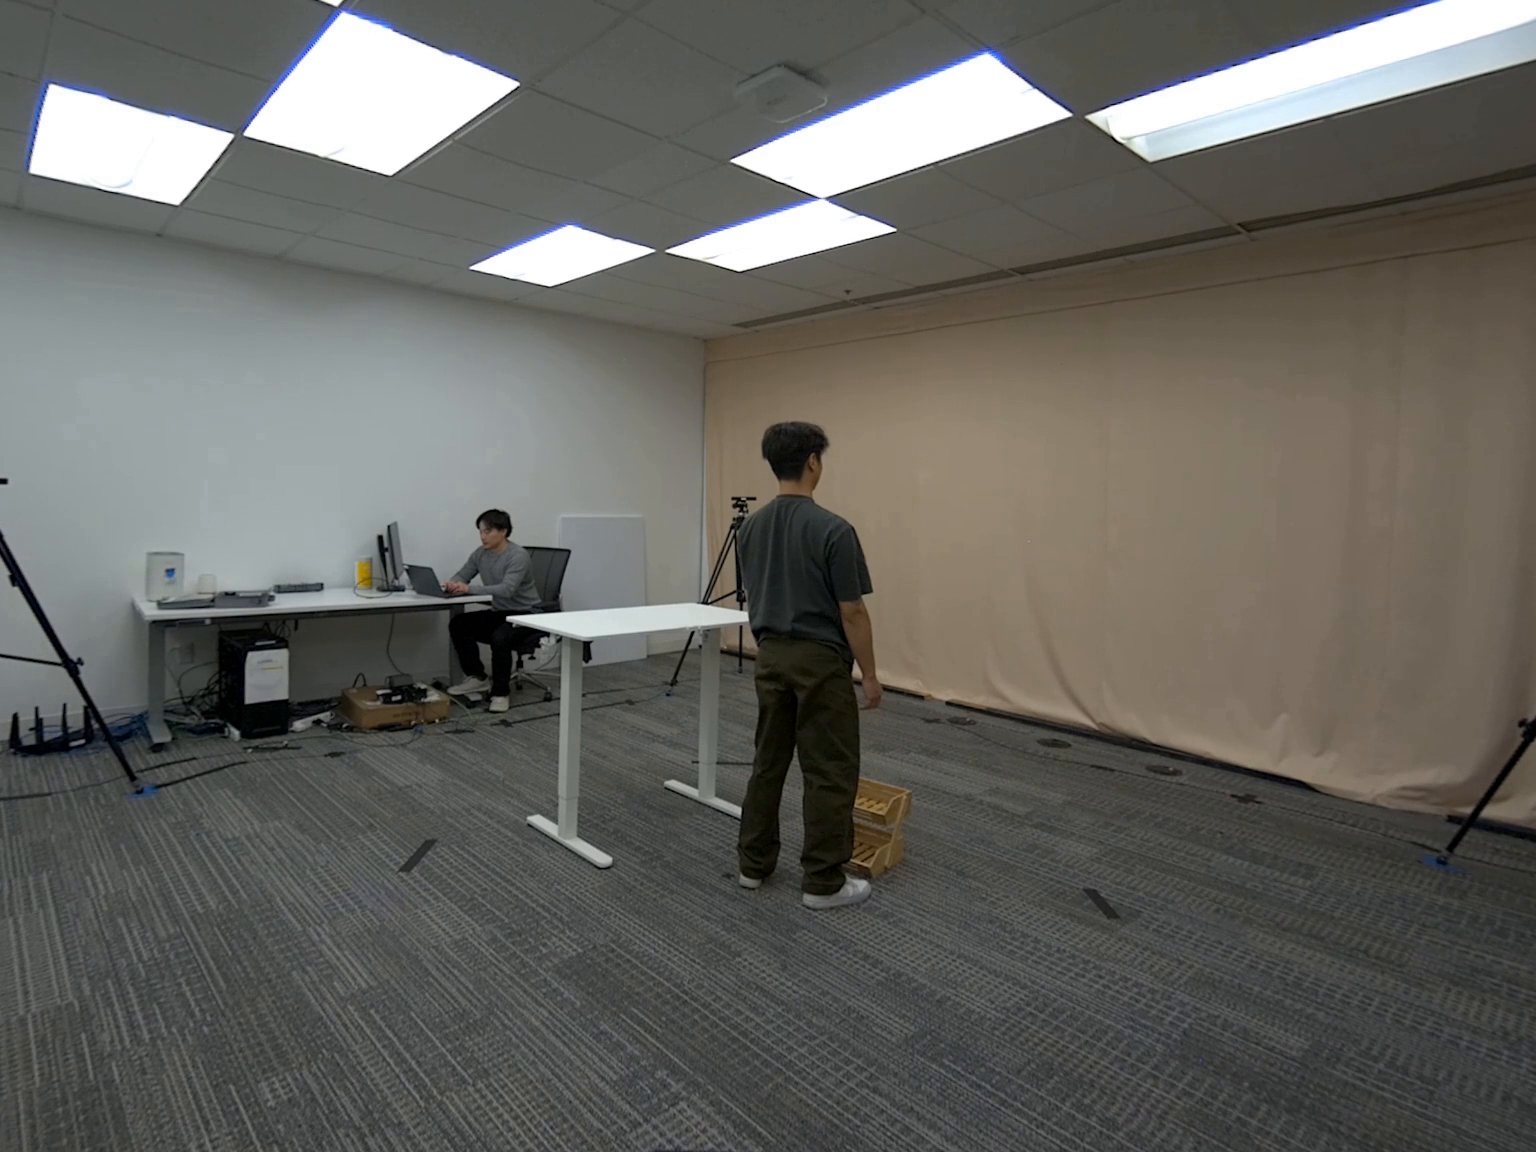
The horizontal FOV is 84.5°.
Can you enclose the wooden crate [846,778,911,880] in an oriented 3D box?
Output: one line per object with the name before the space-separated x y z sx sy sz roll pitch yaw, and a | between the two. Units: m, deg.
wooden crate | 0.337 0.961 3.296 0.332 0.273 0.295 5 4 38
